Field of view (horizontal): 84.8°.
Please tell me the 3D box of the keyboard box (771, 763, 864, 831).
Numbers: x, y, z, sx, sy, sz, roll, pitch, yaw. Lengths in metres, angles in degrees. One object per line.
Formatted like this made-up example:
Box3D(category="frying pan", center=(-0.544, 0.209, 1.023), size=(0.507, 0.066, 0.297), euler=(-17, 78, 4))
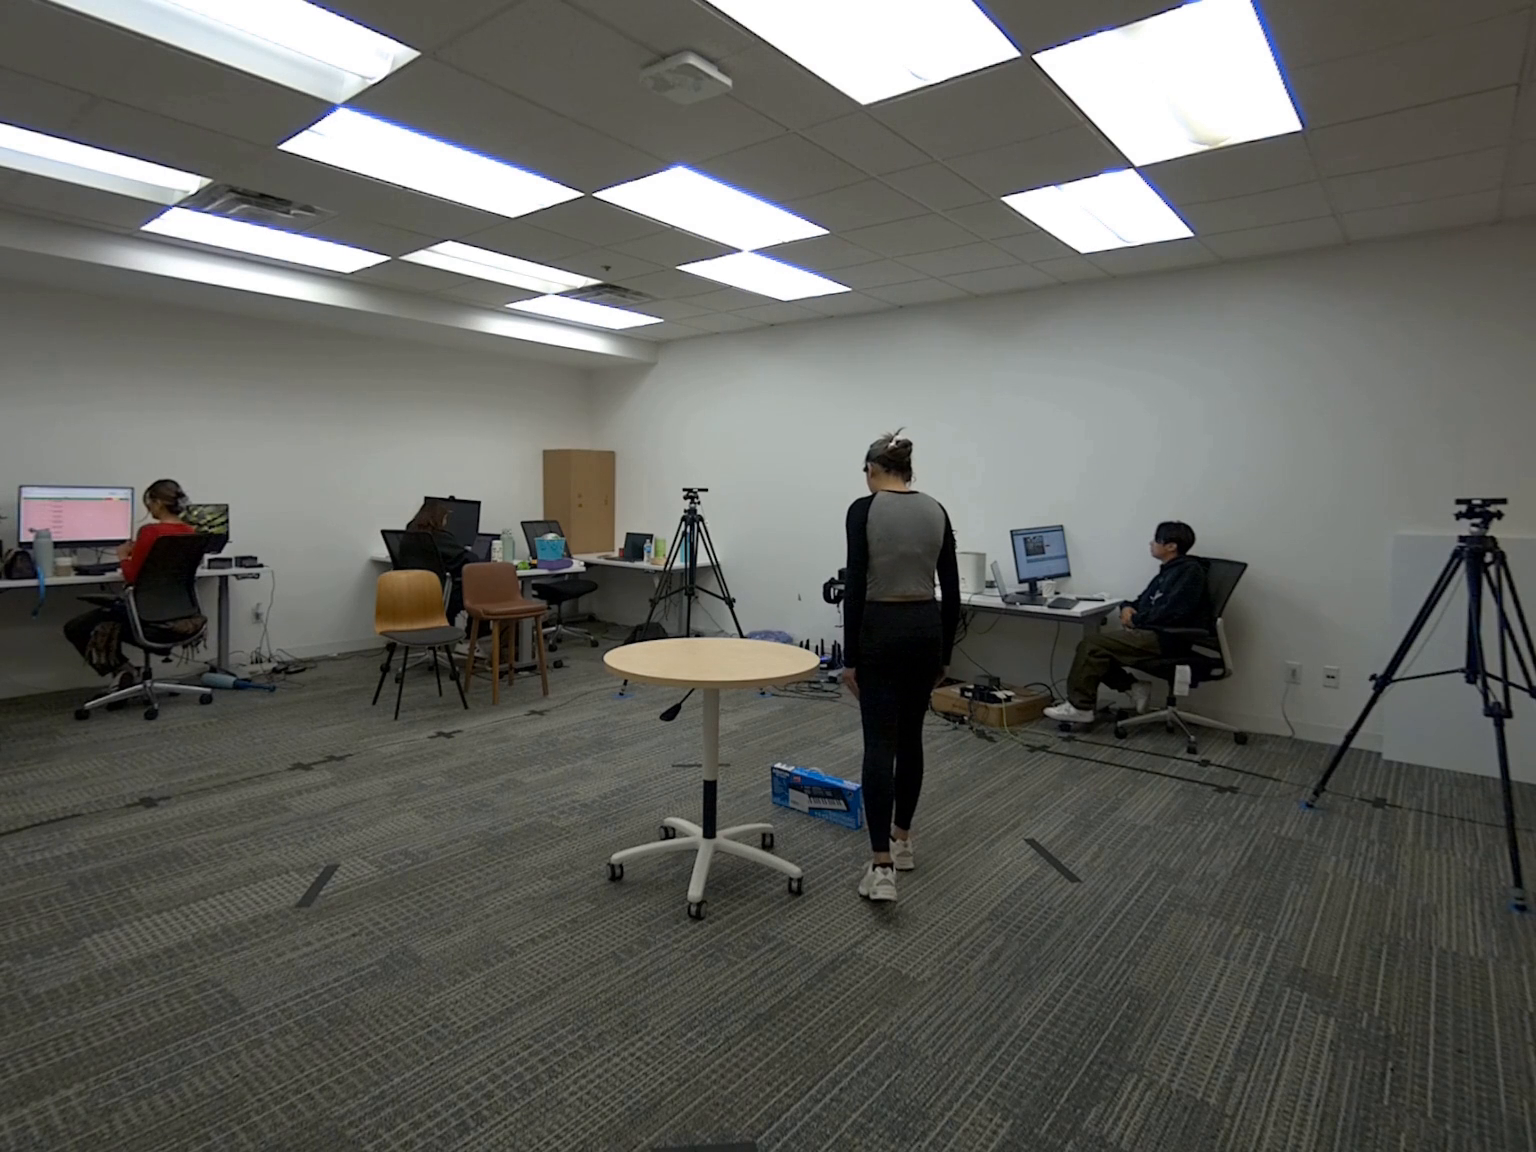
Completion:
Box3D(category="keyboard box", center=(0.197, 0.938, 3.660), size=(0.451, 0.174, 0.057), euler=(5, 11, 39))
